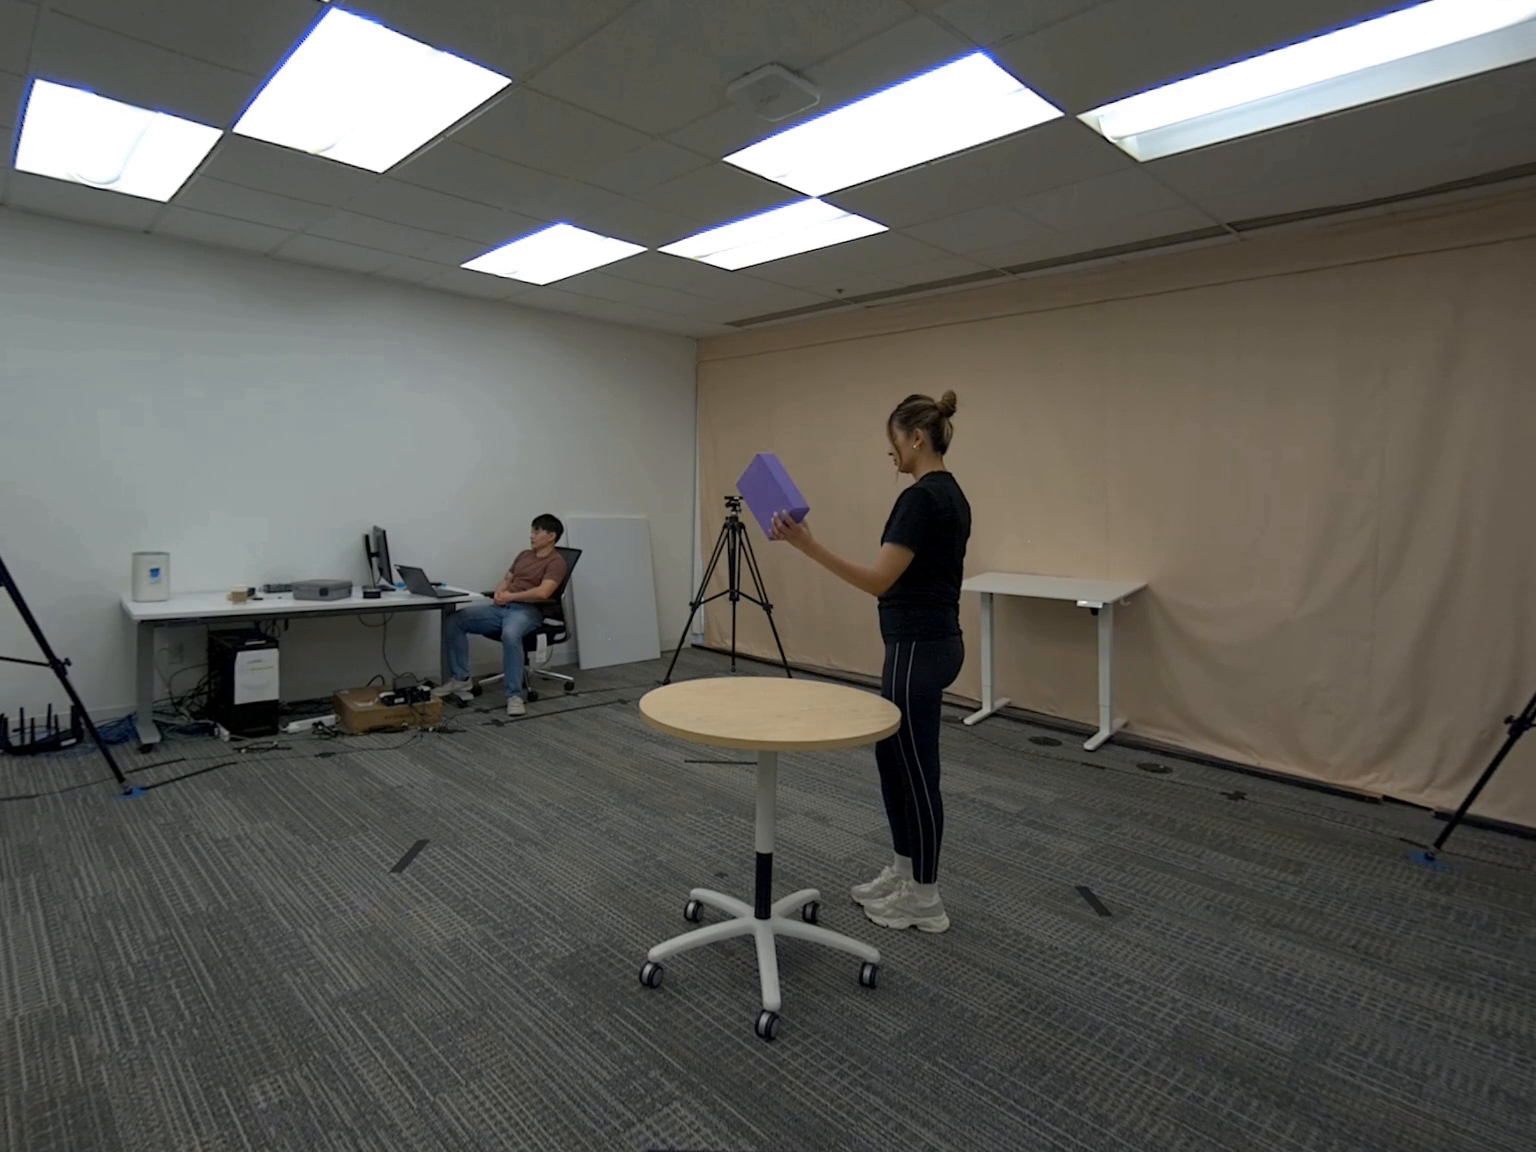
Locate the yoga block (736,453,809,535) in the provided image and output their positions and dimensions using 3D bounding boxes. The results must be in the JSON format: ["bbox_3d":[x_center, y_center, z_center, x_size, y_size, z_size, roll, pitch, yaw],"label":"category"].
[{"bbox_3d":[0.008,-0.238,2.515,0.075,0.235,0.148,-6,-34,-41],"label":"yoga block"}]
